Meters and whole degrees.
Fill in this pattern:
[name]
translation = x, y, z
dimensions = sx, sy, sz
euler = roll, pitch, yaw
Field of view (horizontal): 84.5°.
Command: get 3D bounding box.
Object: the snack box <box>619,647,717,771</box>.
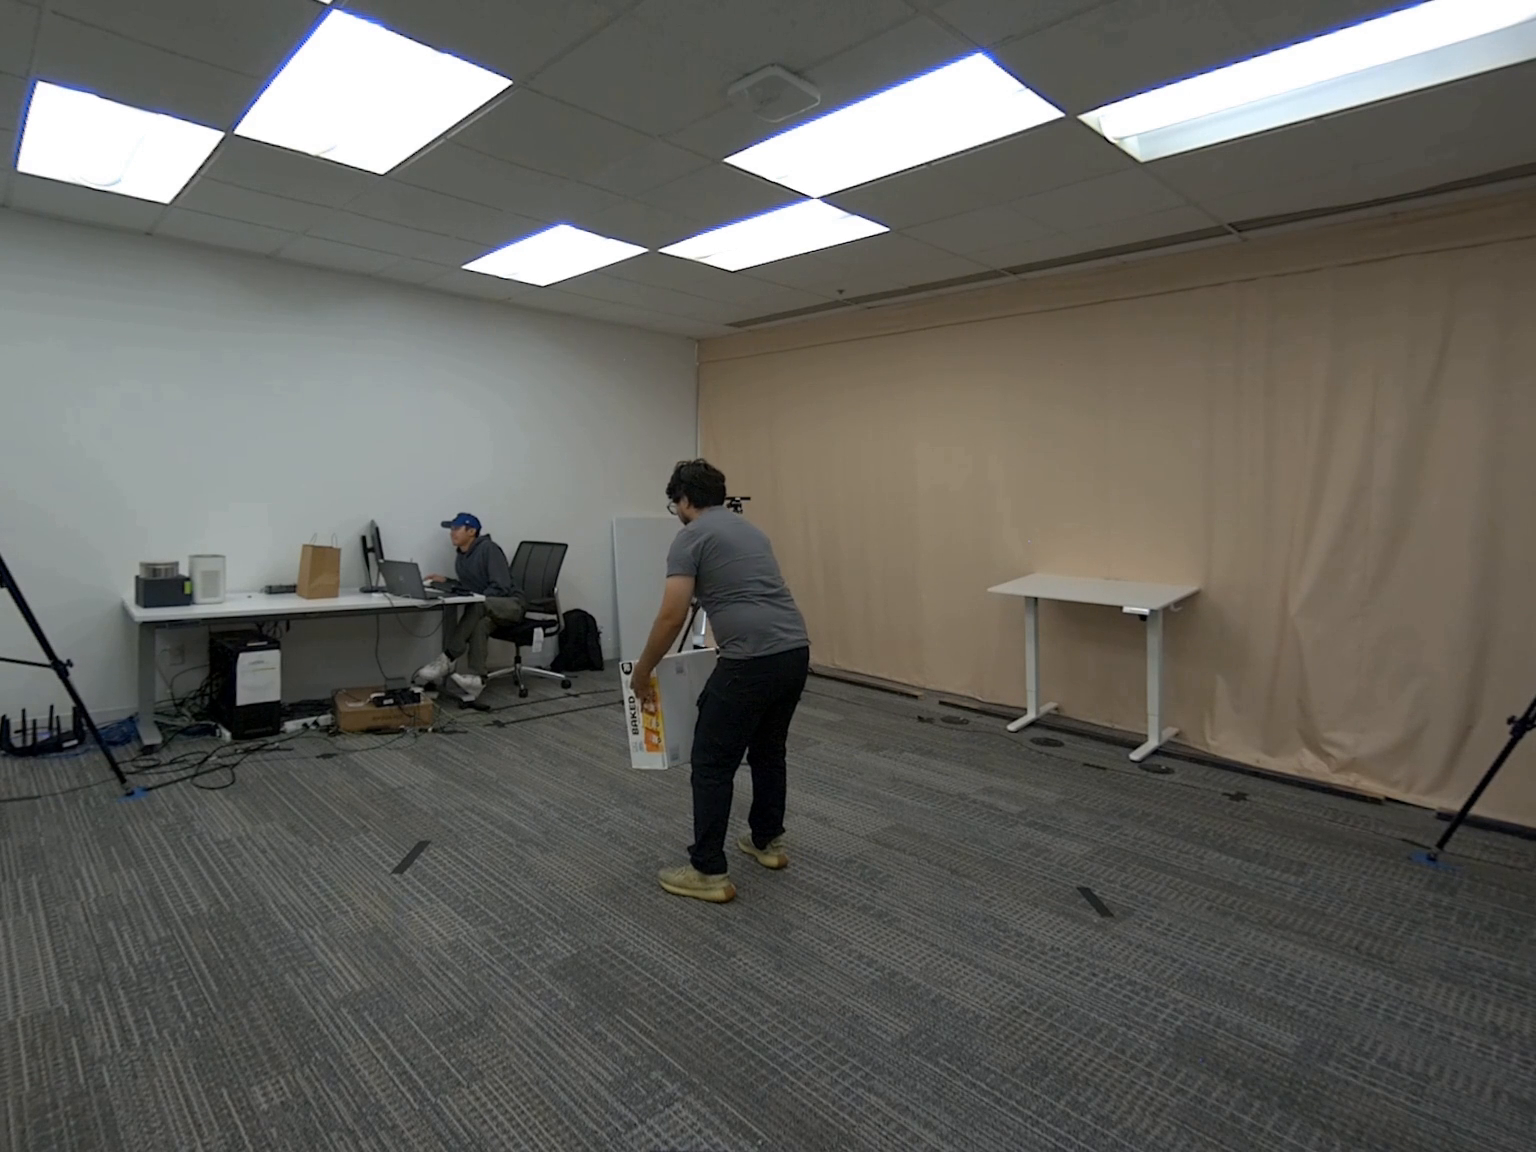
[snack box]
translation = -0.365, 0.511, 3.294
dimensions = 0.209, 0.407, 0.332
euler = -11, -6, 41
